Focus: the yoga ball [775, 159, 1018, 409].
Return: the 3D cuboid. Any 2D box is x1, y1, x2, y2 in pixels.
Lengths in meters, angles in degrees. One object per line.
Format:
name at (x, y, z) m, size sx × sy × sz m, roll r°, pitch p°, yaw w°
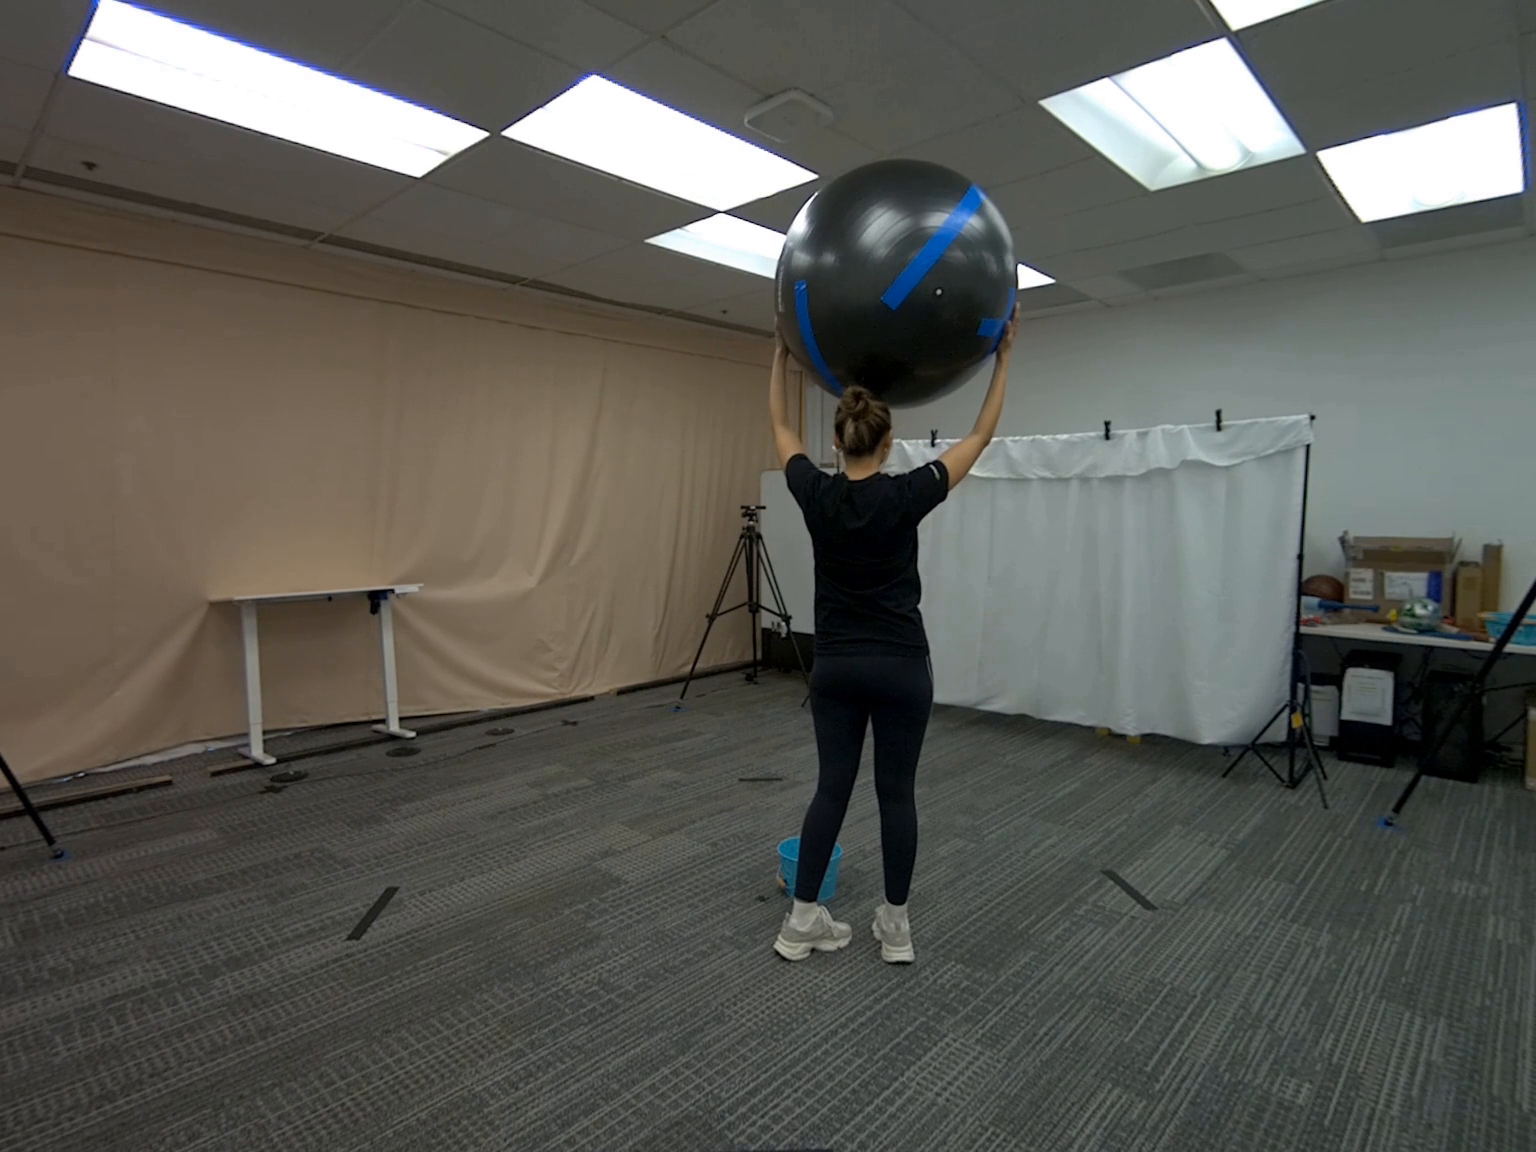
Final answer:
yoga ball at (0.404, -0.907, 2.676) m, size 0.757 × 0.756 × 0.760 m, roll 0°, pitch 4°, yaw -2°
